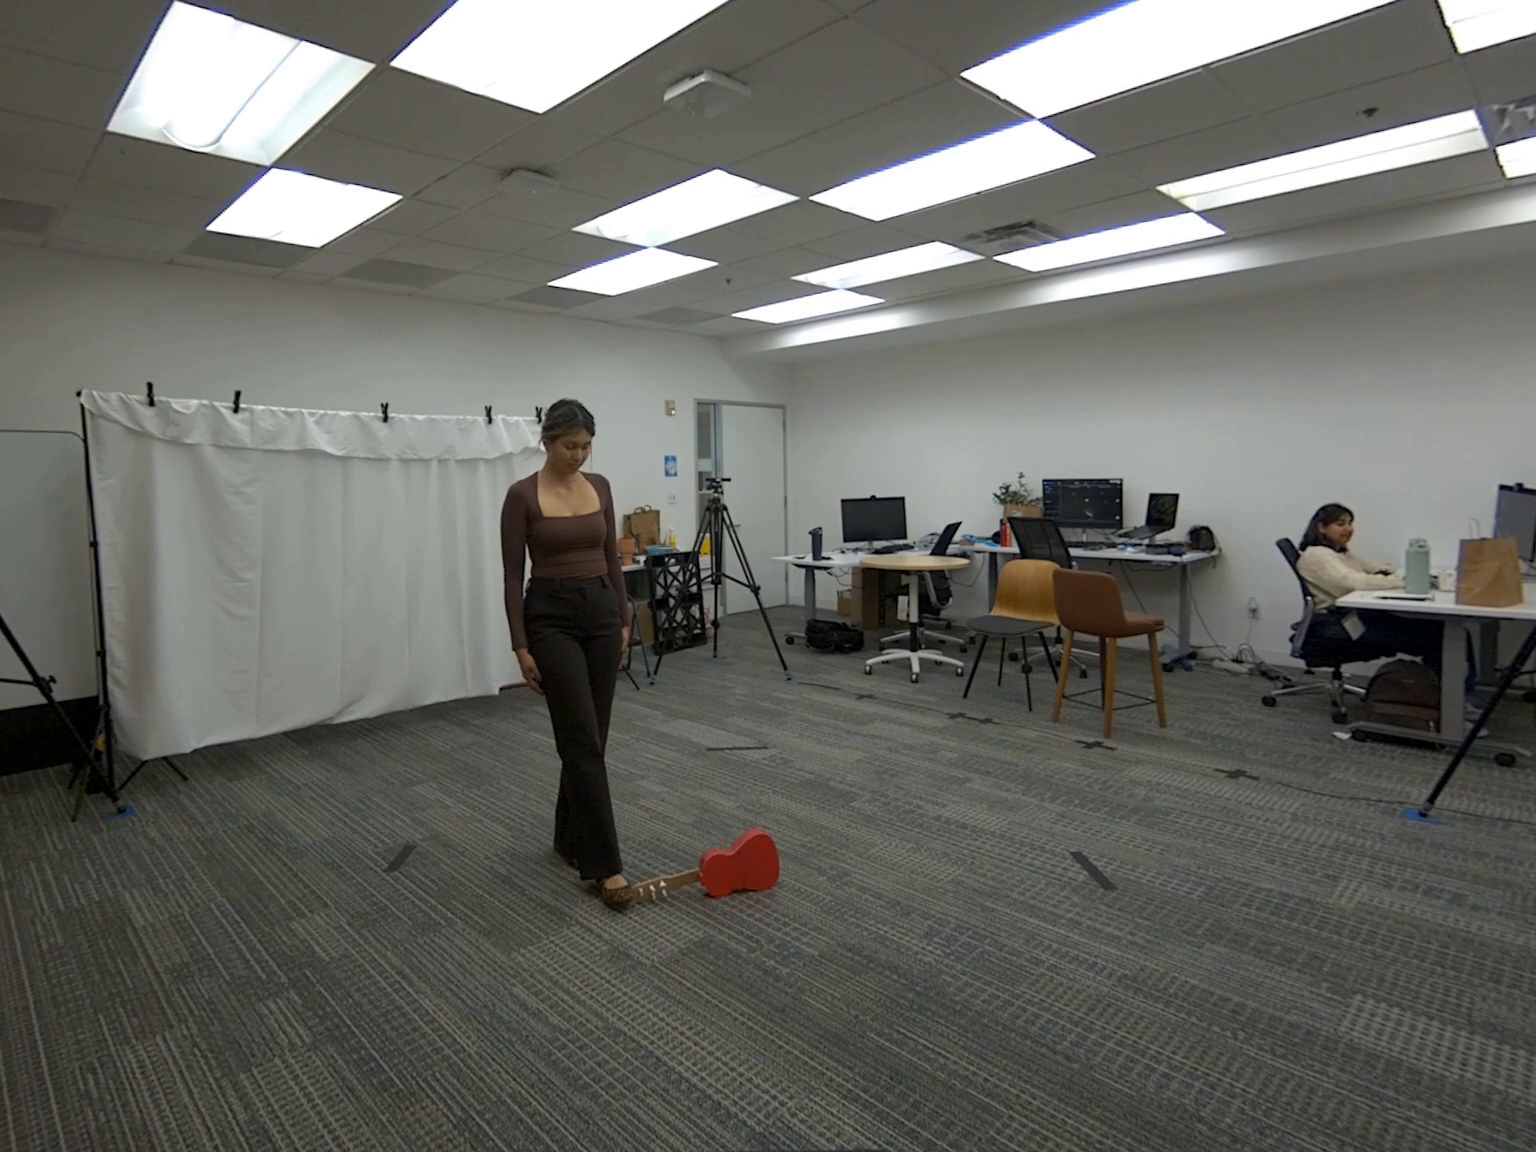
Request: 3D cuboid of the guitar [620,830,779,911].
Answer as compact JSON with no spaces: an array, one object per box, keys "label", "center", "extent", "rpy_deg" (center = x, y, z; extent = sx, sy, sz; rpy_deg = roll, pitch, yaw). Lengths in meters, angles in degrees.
[{"label":"guitar","center":[-0.197,1.023,2.867],"extent":[0.493,0.192,0.072],"rpy_deg":[-21,6,-16]}]
